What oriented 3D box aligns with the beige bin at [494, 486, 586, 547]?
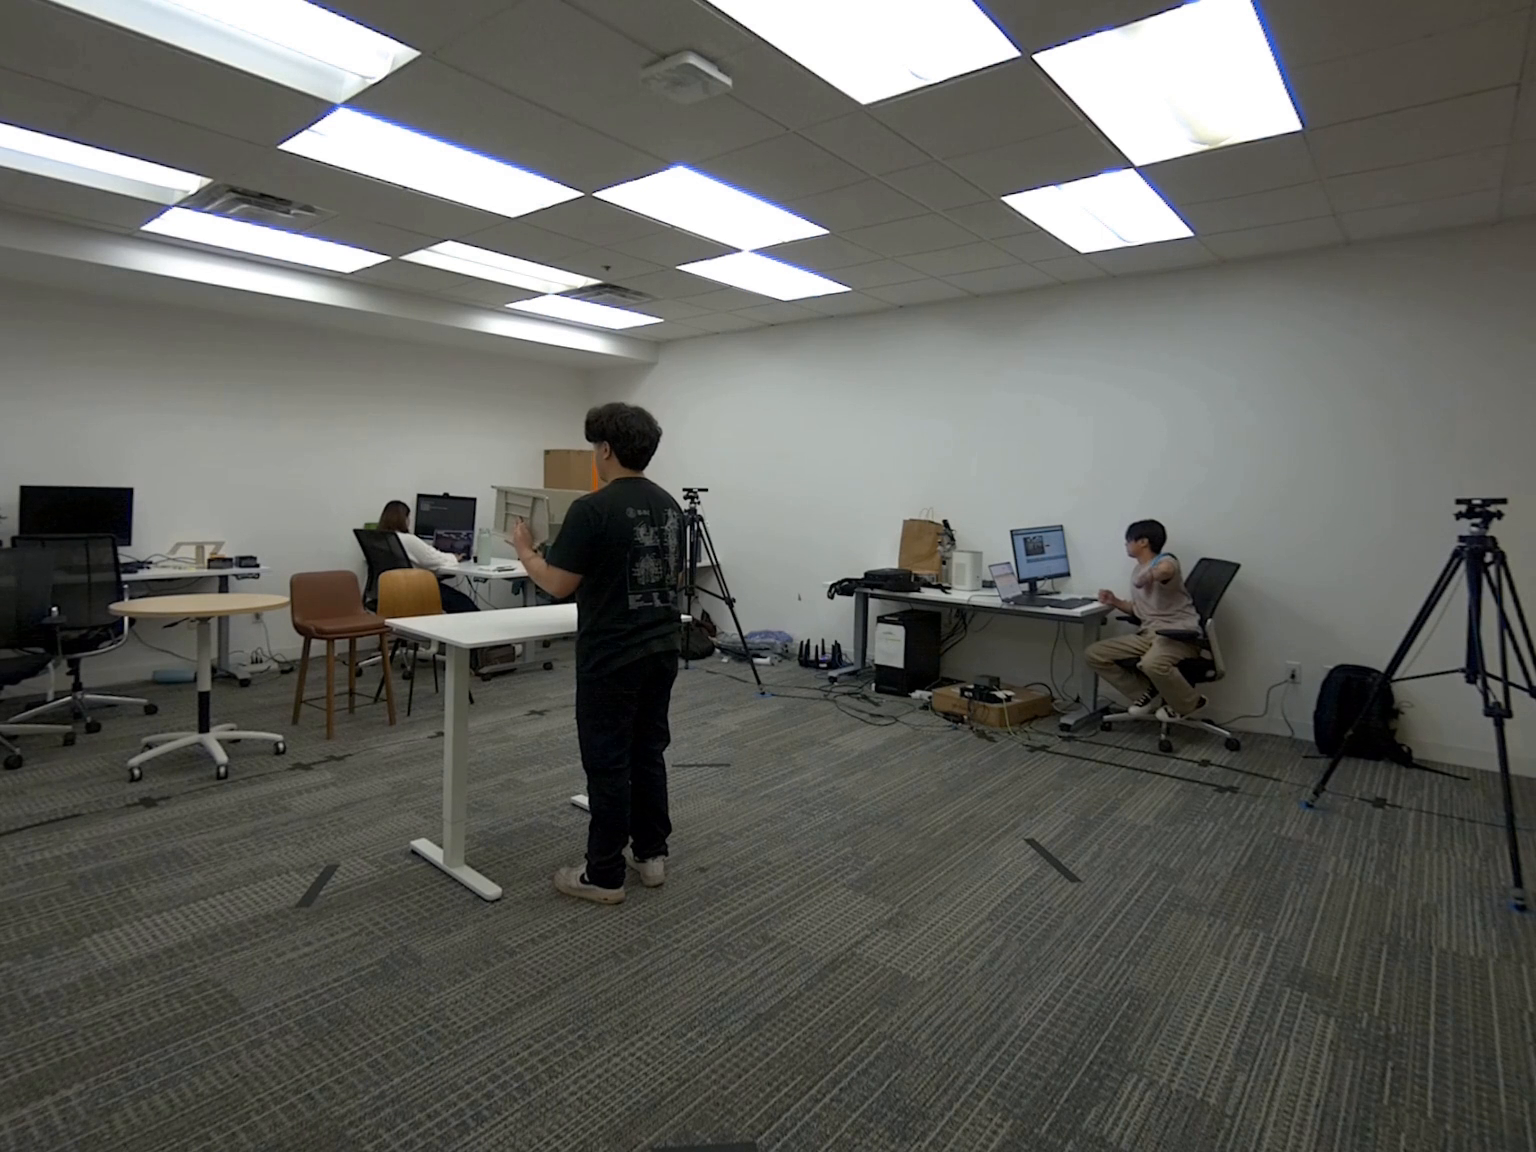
[{"bbox_3d":[-0.757,-0.216,3.157,0.391,0.188,0.409,12,10,42],"label":"beige bin"}]
